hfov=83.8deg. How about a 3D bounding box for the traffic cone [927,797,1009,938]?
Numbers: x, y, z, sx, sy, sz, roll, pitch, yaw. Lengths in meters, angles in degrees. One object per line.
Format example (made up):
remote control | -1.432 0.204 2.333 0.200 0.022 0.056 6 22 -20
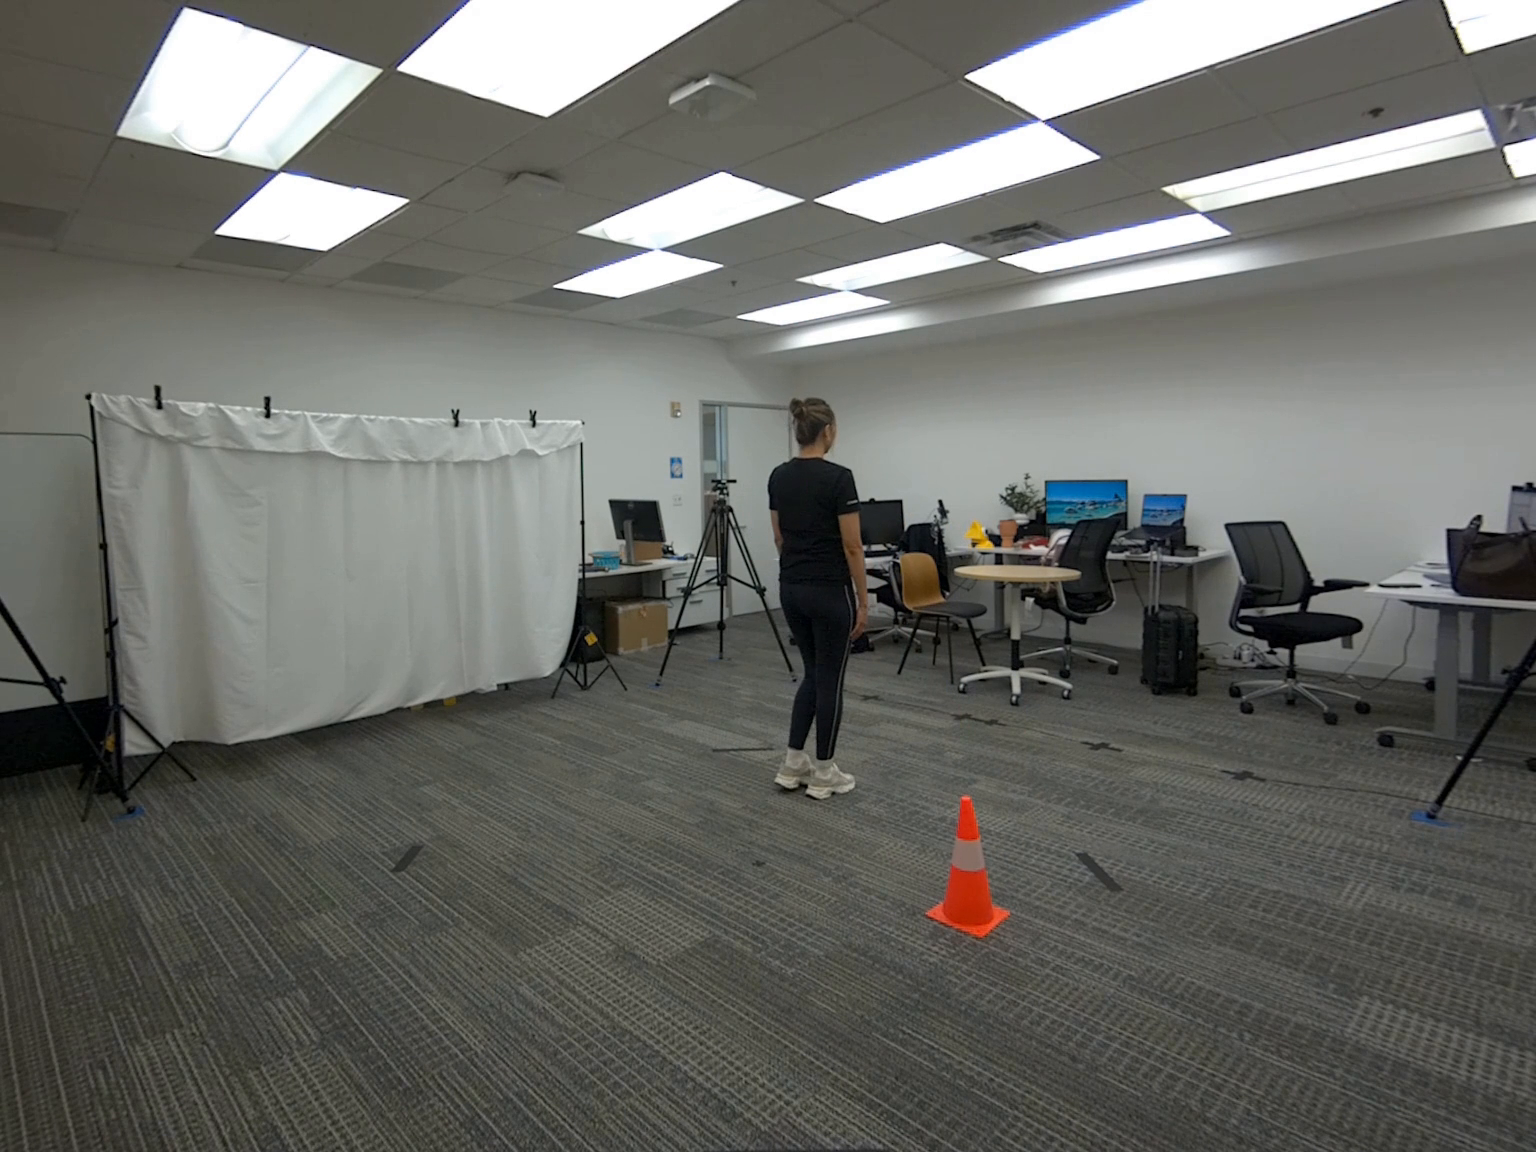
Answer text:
traffic cone | 0.637 0.892 2.710 0.200 0.382 0.209 -7 7 -45
